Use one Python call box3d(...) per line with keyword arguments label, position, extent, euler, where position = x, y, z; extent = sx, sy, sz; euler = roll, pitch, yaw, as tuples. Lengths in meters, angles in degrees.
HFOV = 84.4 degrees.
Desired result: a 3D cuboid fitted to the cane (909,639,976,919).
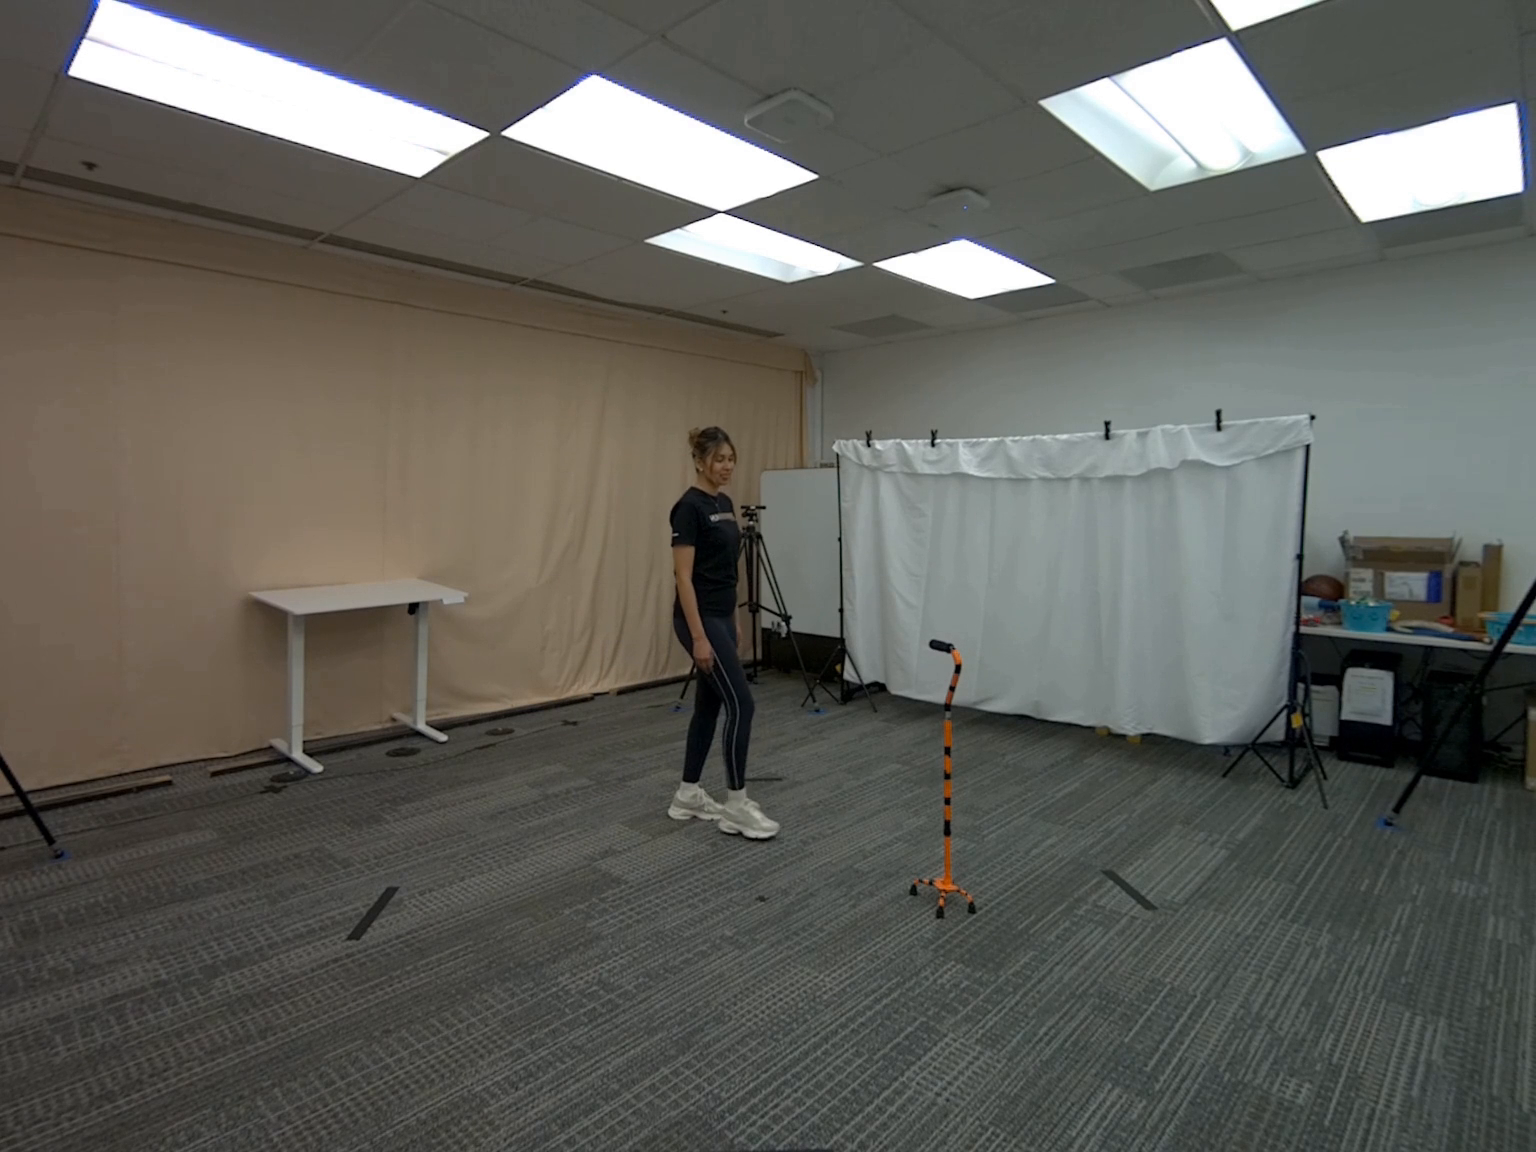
box3d(label="cane", position=(0.616, 0.692, 2.928), extent=(0.149, 0.906, 0.210), euler=(-1, 3, -18))
